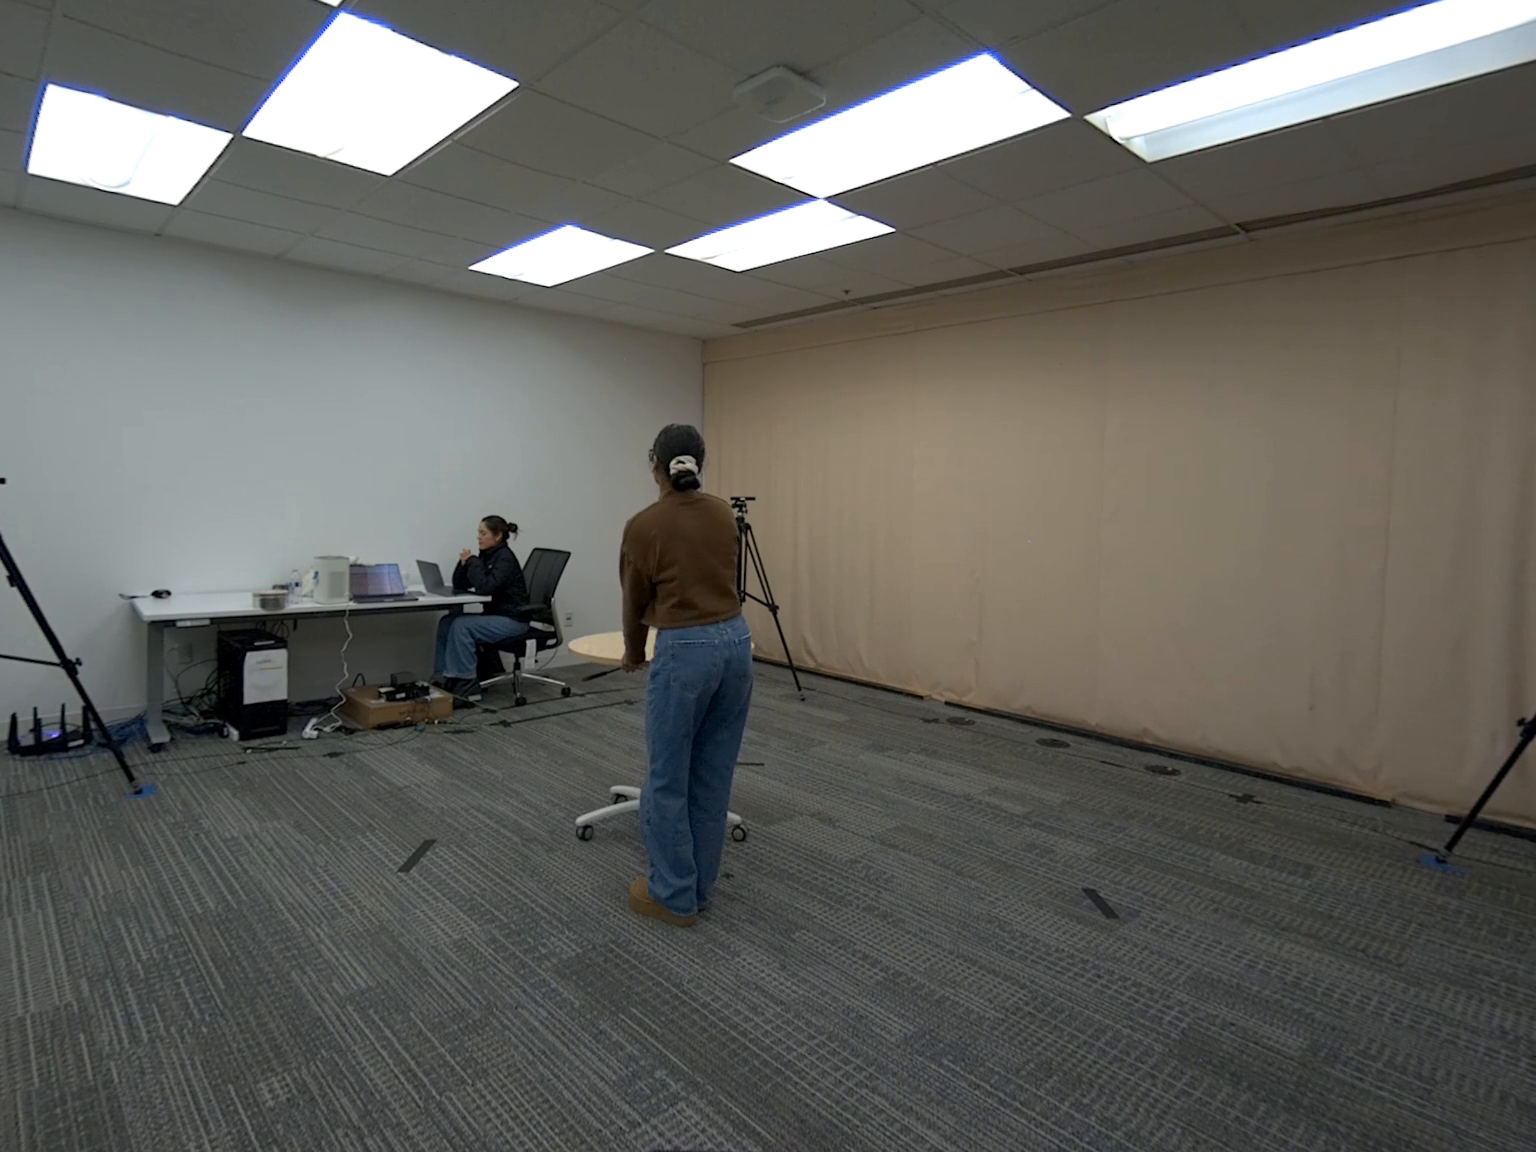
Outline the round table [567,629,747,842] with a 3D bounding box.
[{"bbox_3d":[-0.436,0.674,3.494,0.784,0.784,0.788,1,4,-1],"label":"round table"}]
